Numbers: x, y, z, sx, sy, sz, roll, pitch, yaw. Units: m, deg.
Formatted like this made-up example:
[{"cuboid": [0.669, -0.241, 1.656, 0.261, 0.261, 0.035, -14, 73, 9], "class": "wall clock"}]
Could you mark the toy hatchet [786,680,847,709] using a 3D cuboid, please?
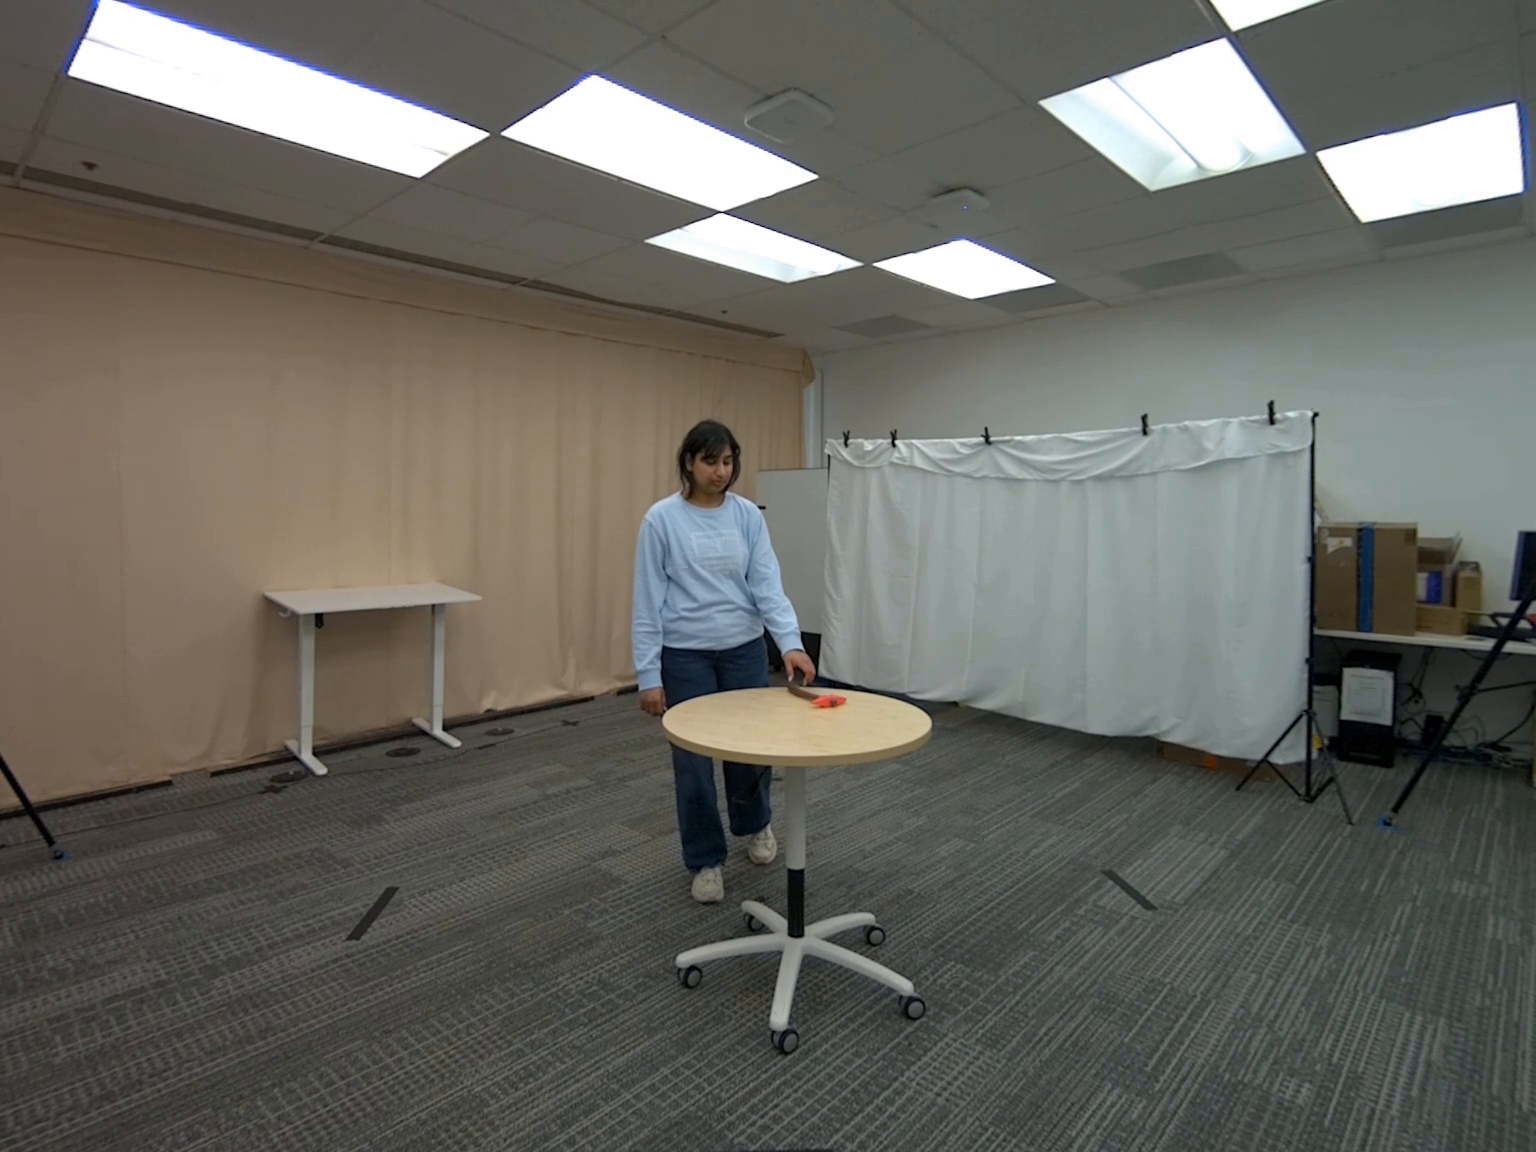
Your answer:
[{"cuboid": [0.169, 0.374, 2.647, 0.129, 0.029, 0.274, -3, 4, -14], "class": "toy hatchet"}]
